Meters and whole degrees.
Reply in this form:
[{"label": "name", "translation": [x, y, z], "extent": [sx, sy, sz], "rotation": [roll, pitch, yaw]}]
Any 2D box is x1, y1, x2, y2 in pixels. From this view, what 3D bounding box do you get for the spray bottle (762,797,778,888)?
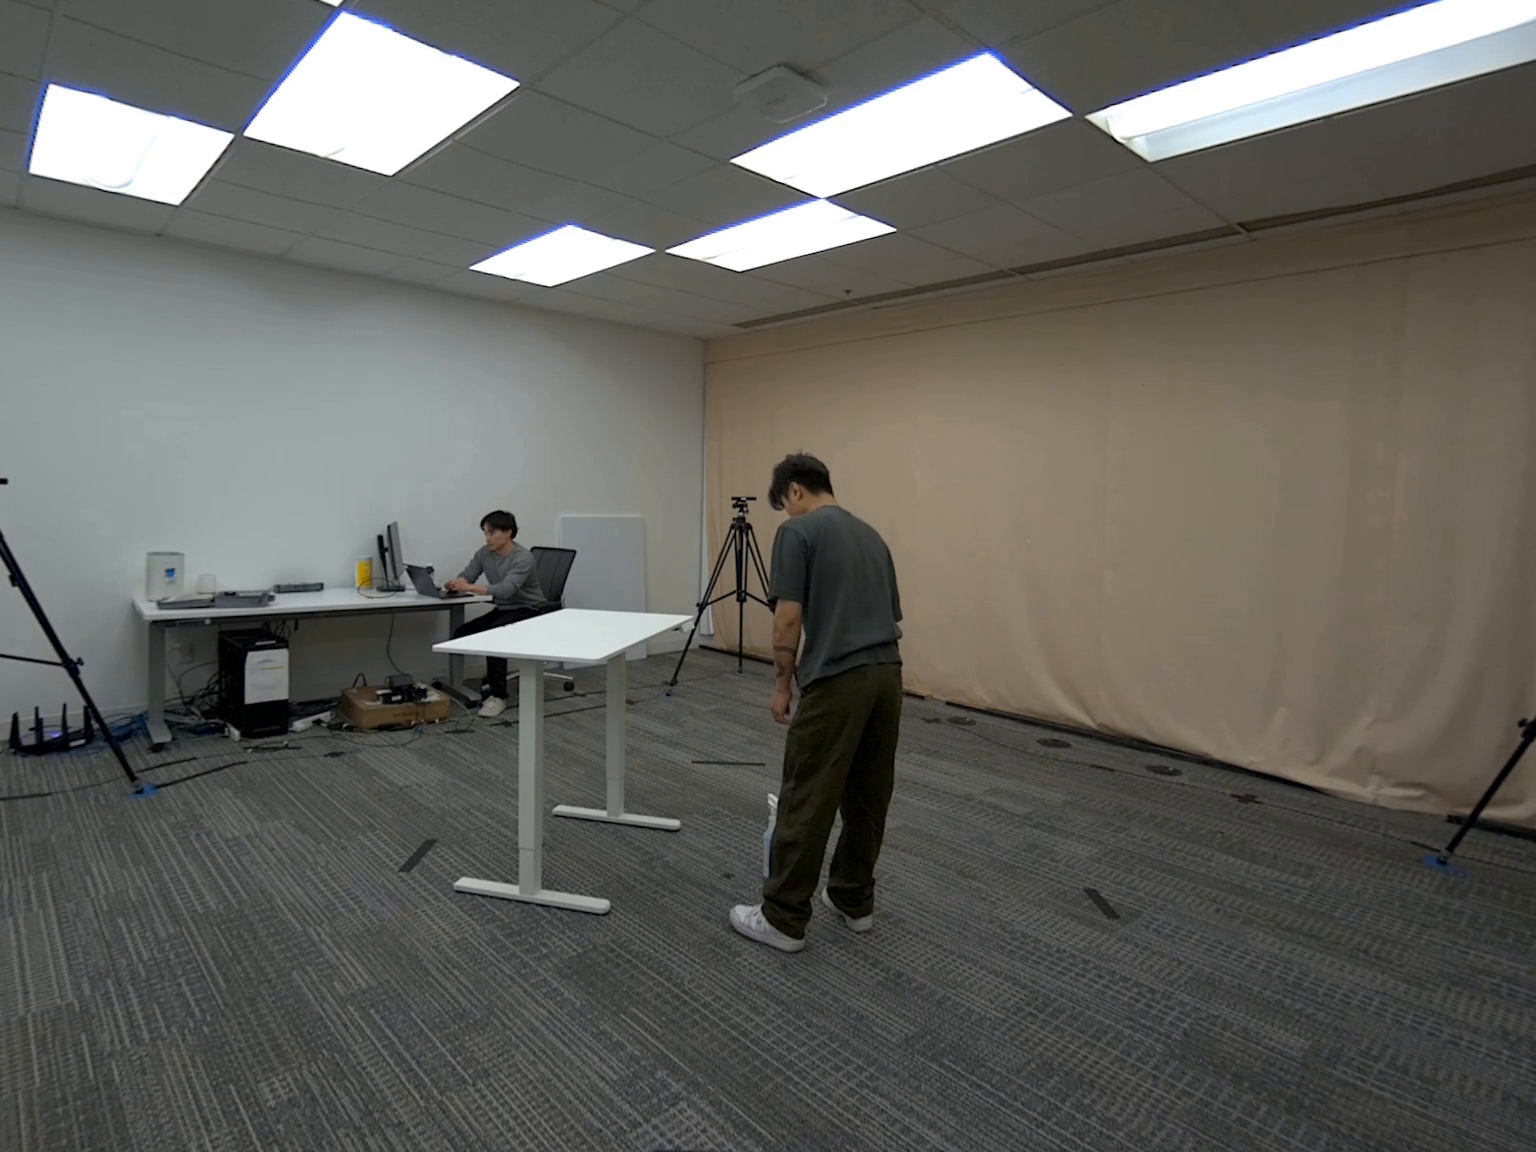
[{"label": "spray bottle", "translation": [0.023, 0.971, 3.092], "extent": [0.087, 0.297, 0.090], "rotation": [0, 2, -1]}]
